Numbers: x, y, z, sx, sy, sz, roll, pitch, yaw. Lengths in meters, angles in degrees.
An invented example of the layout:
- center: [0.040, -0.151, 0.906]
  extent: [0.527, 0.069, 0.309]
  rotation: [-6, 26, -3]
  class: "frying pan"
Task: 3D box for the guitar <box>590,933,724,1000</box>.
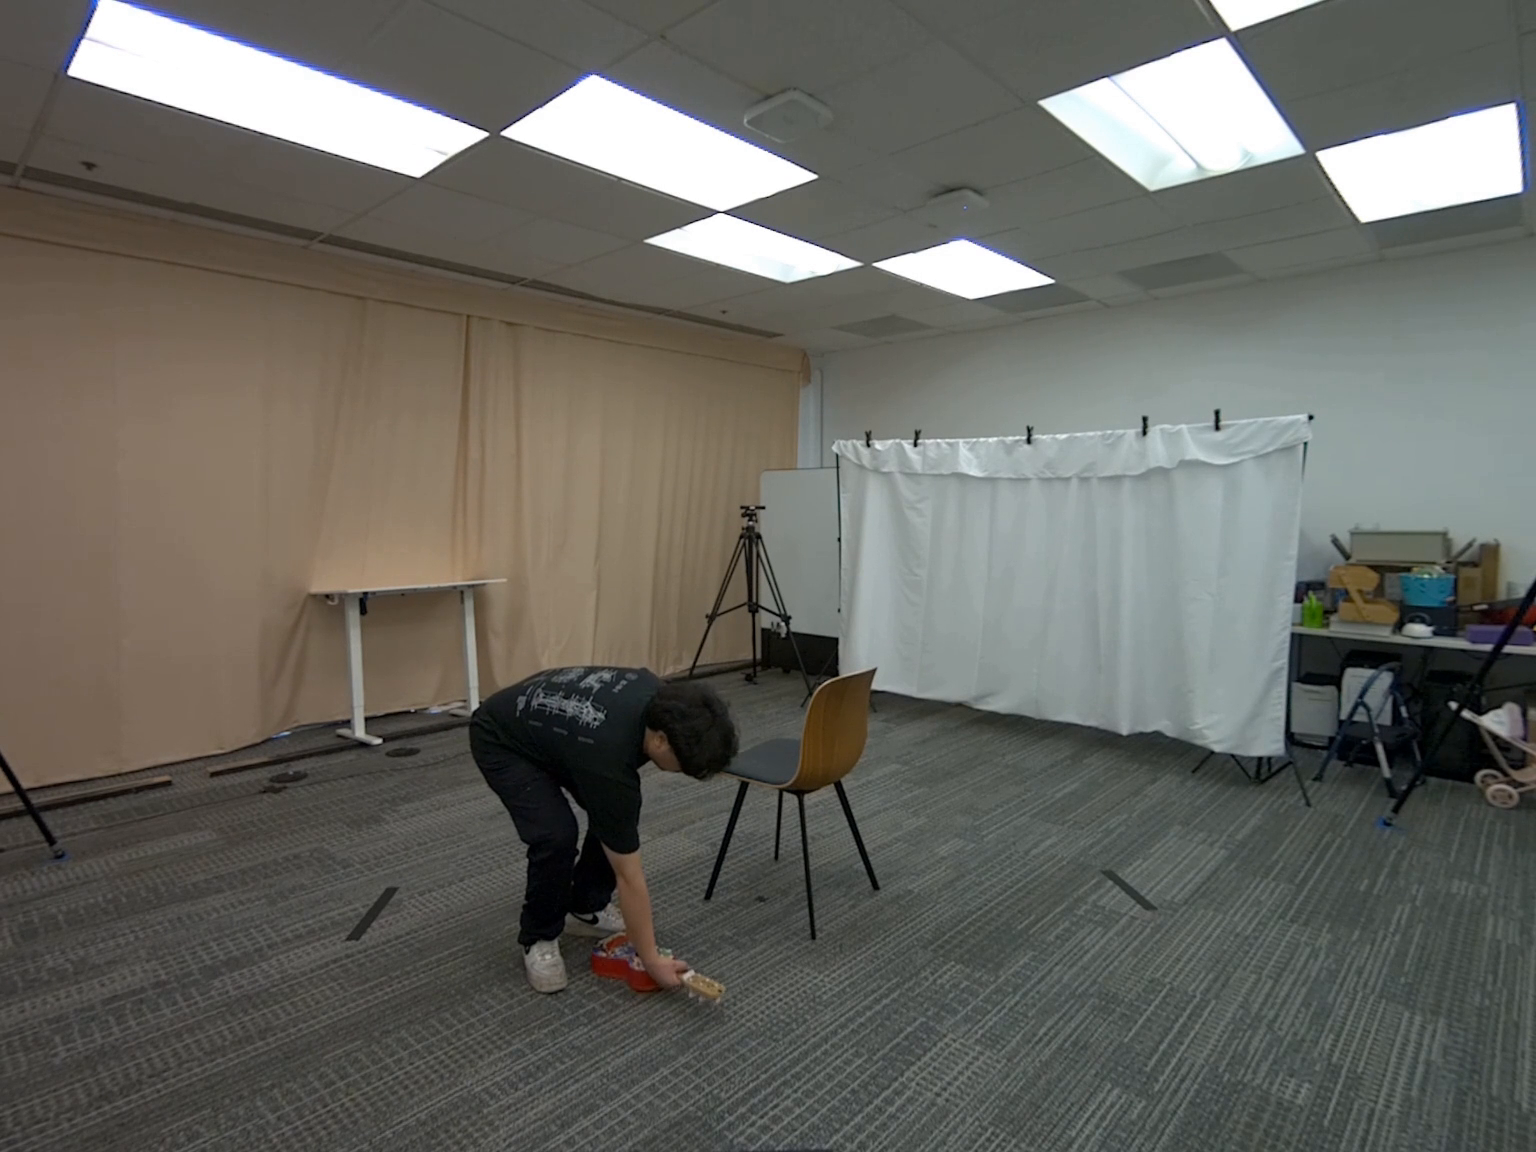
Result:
- center: [-0.337, 1.154, 2.419]
  extent: [0.187, 0.070, 0.514]
  rotation: [-5, 5, -37]
  class: "guitar"
